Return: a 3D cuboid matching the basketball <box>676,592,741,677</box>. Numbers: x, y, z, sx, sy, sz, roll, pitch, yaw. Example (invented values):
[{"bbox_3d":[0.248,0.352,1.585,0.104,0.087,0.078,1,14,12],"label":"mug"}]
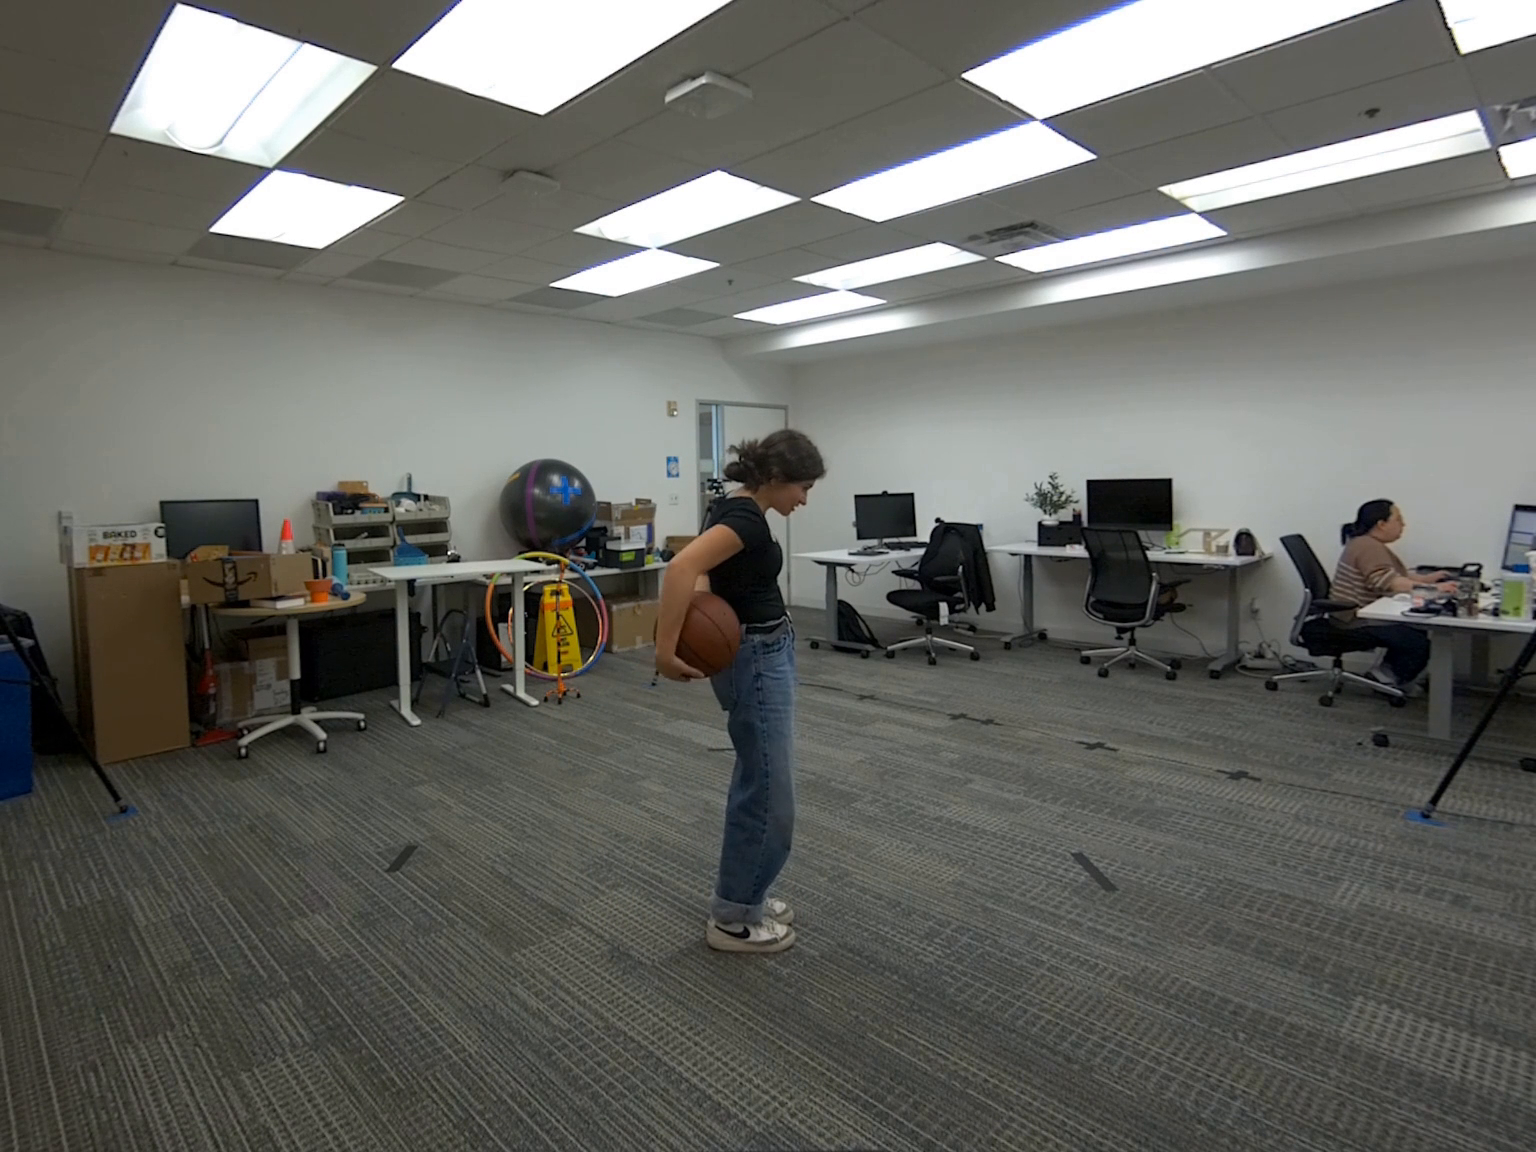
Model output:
[{"bbox_3d":[-0.188,0.157,2.355,0.236,0.235,0.237,-1,5,-2],"label":"basketball"}]
